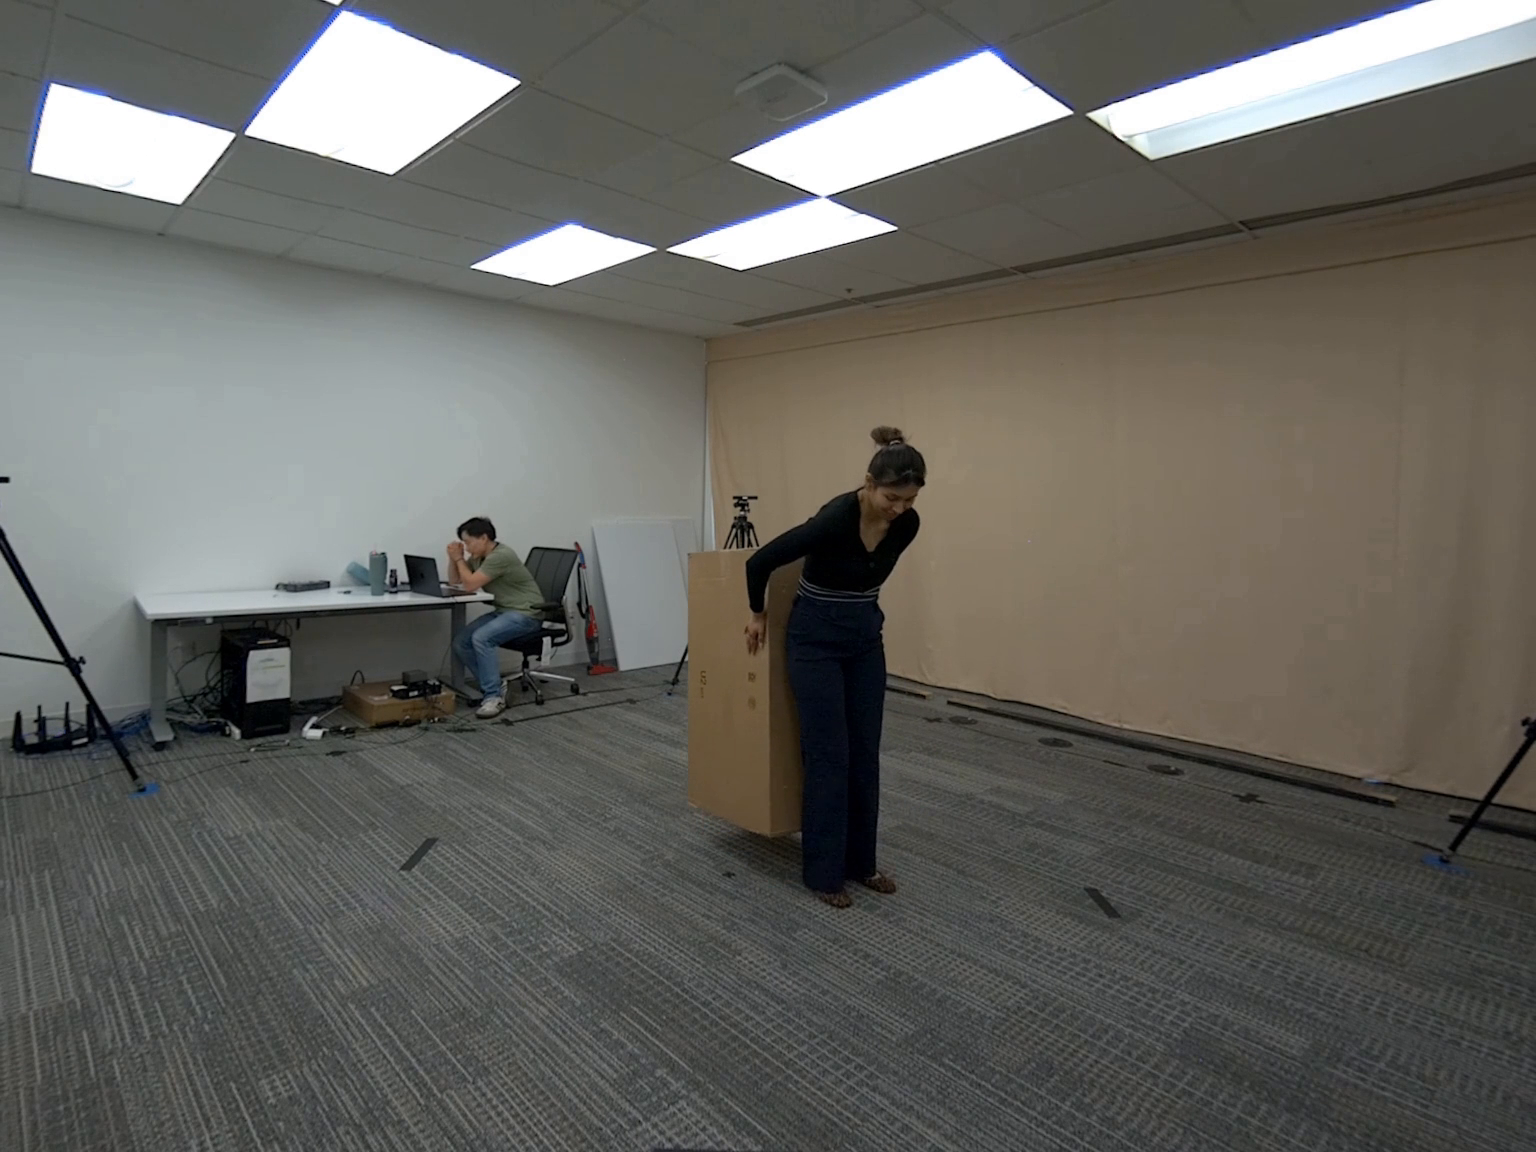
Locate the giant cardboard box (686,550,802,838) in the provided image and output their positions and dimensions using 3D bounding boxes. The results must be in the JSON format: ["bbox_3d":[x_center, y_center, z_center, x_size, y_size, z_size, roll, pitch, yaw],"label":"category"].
[{"bbox_3d":[-0.002,0.424,3.342,0.417,1.029,0.589,2,-4,-34],"label":"giant cardboard box"}]
